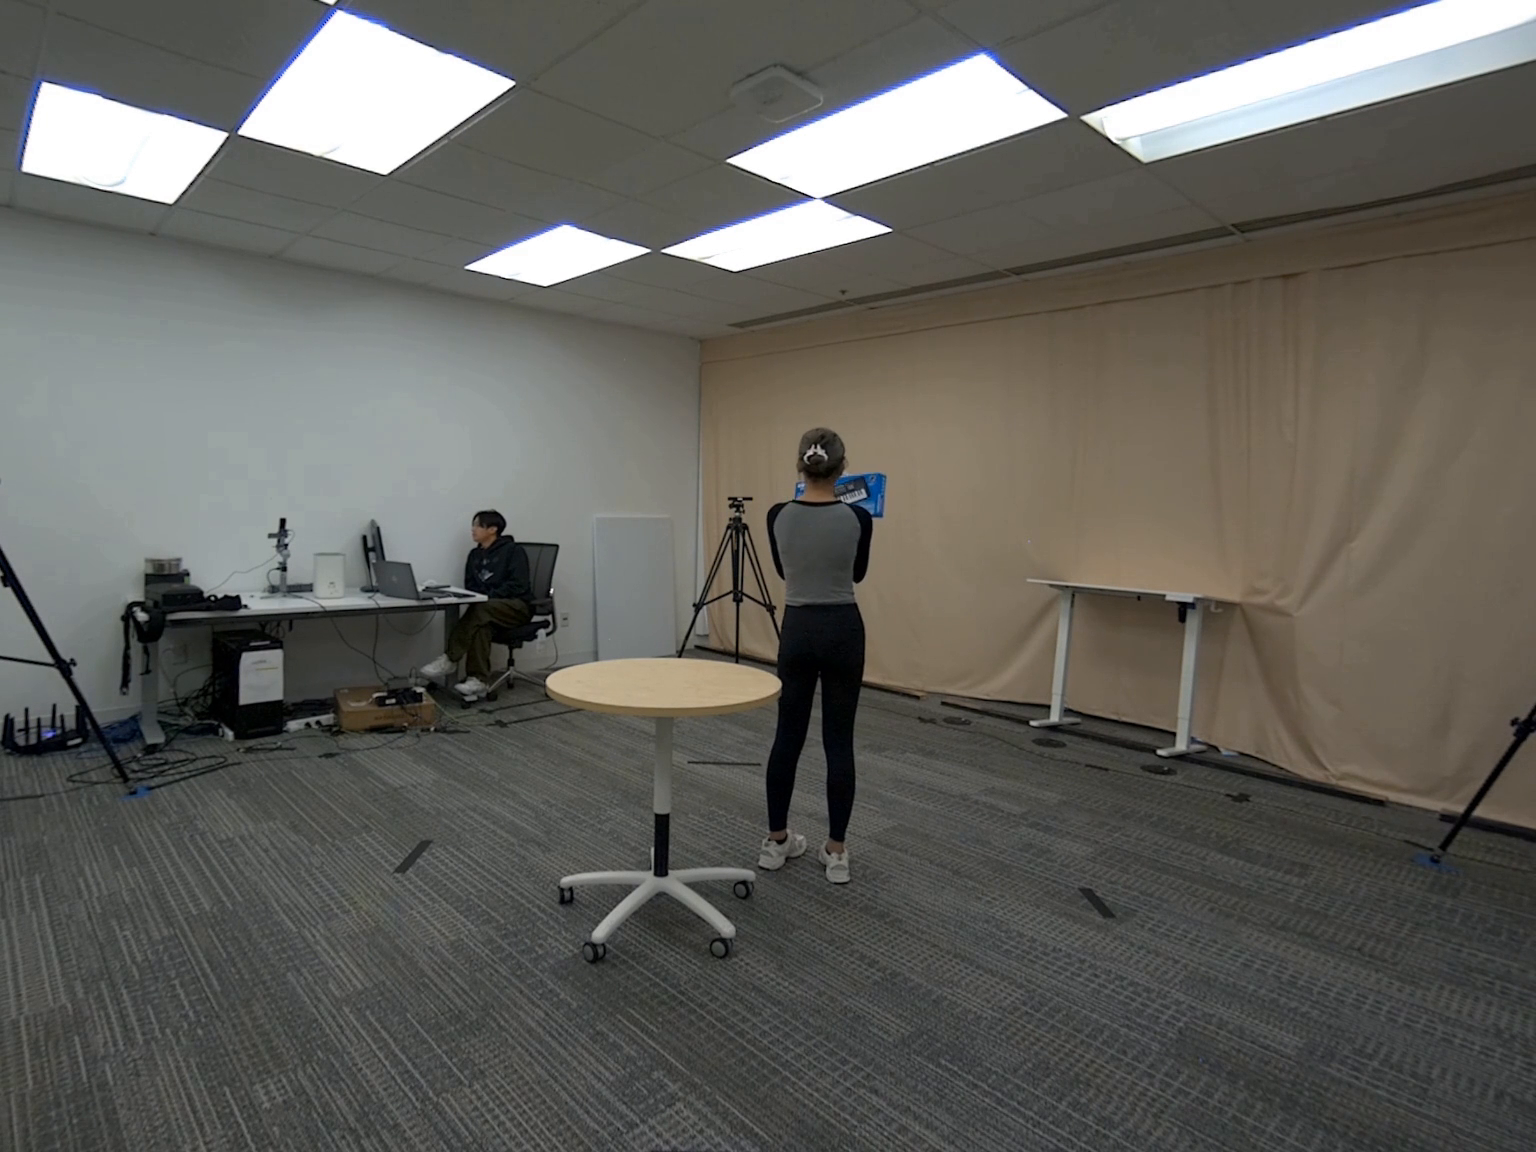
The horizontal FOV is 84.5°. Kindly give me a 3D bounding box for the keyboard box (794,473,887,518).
[{"bbox_3d":[0.281,-0.315,3.467,0.057,0.177,0.447,15,-11,-43],"label":"keyboard box"}]
